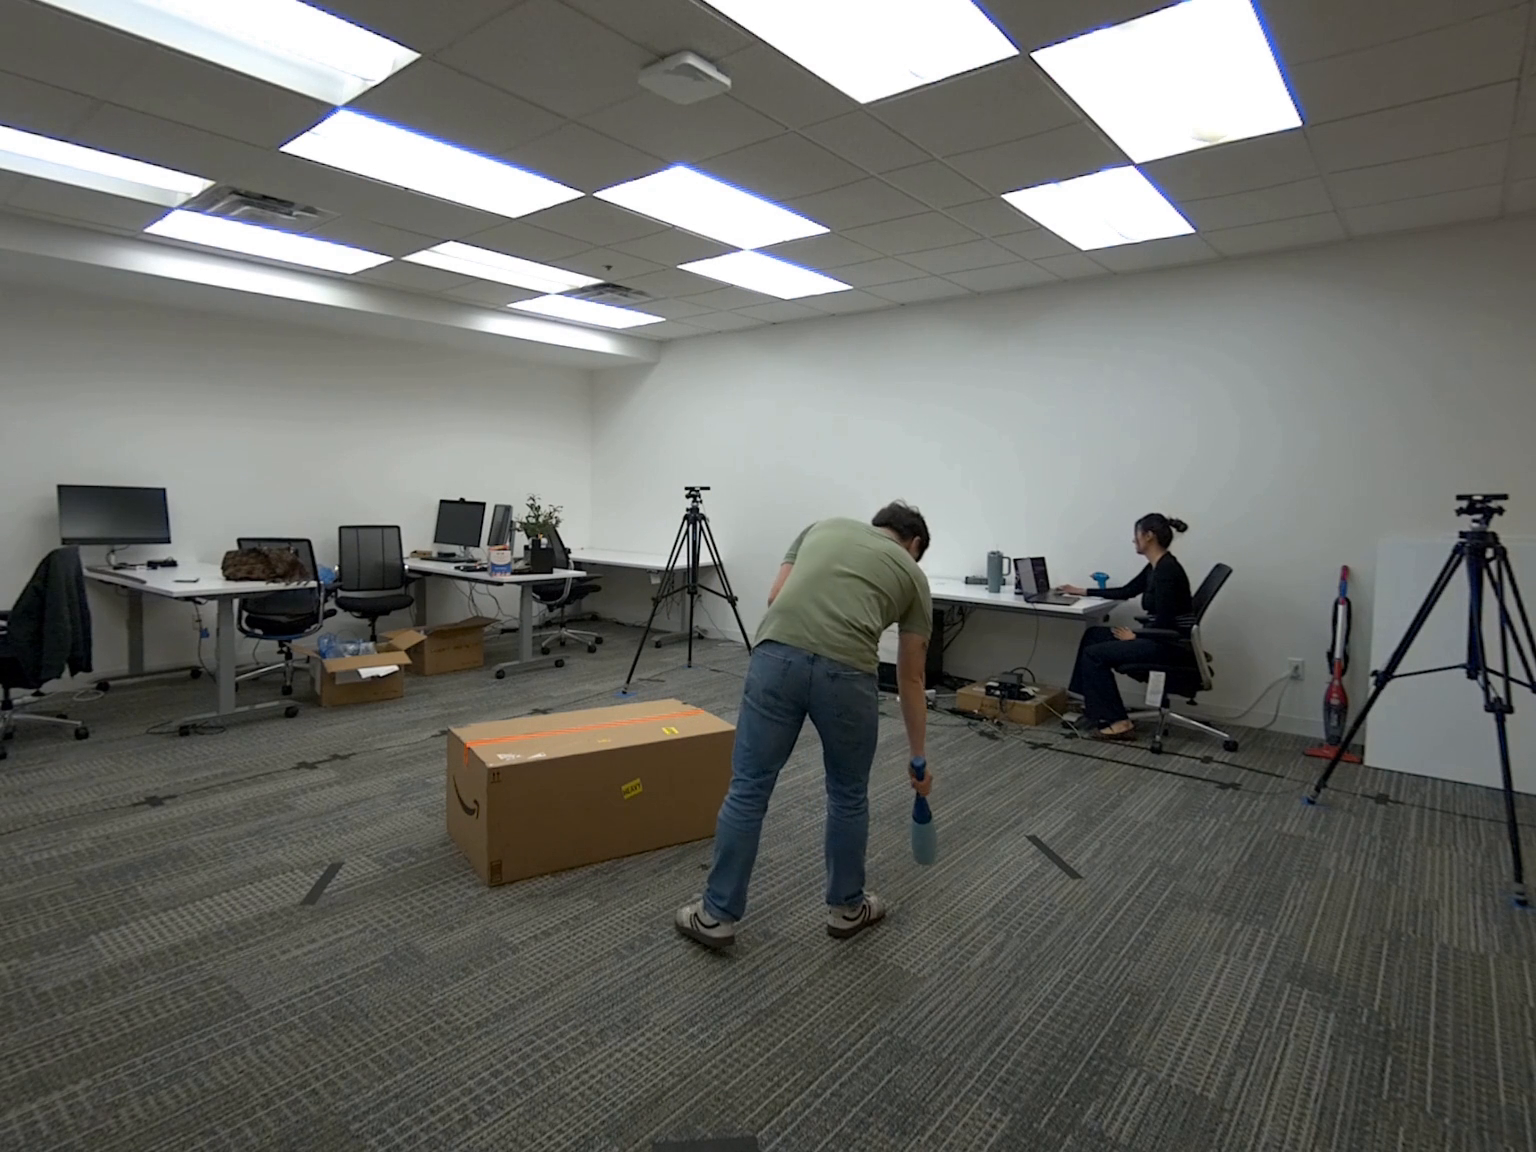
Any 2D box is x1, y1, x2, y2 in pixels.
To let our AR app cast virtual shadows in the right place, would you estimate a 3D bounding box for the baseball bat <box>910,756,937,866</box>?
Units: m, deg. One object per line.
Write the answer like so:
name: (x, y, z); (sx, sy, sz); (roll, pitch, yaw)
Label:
baseball bat: (0.490, 0.775, 2.813); (0.089, 0.525, 0.091); (-9, 38, 5)
